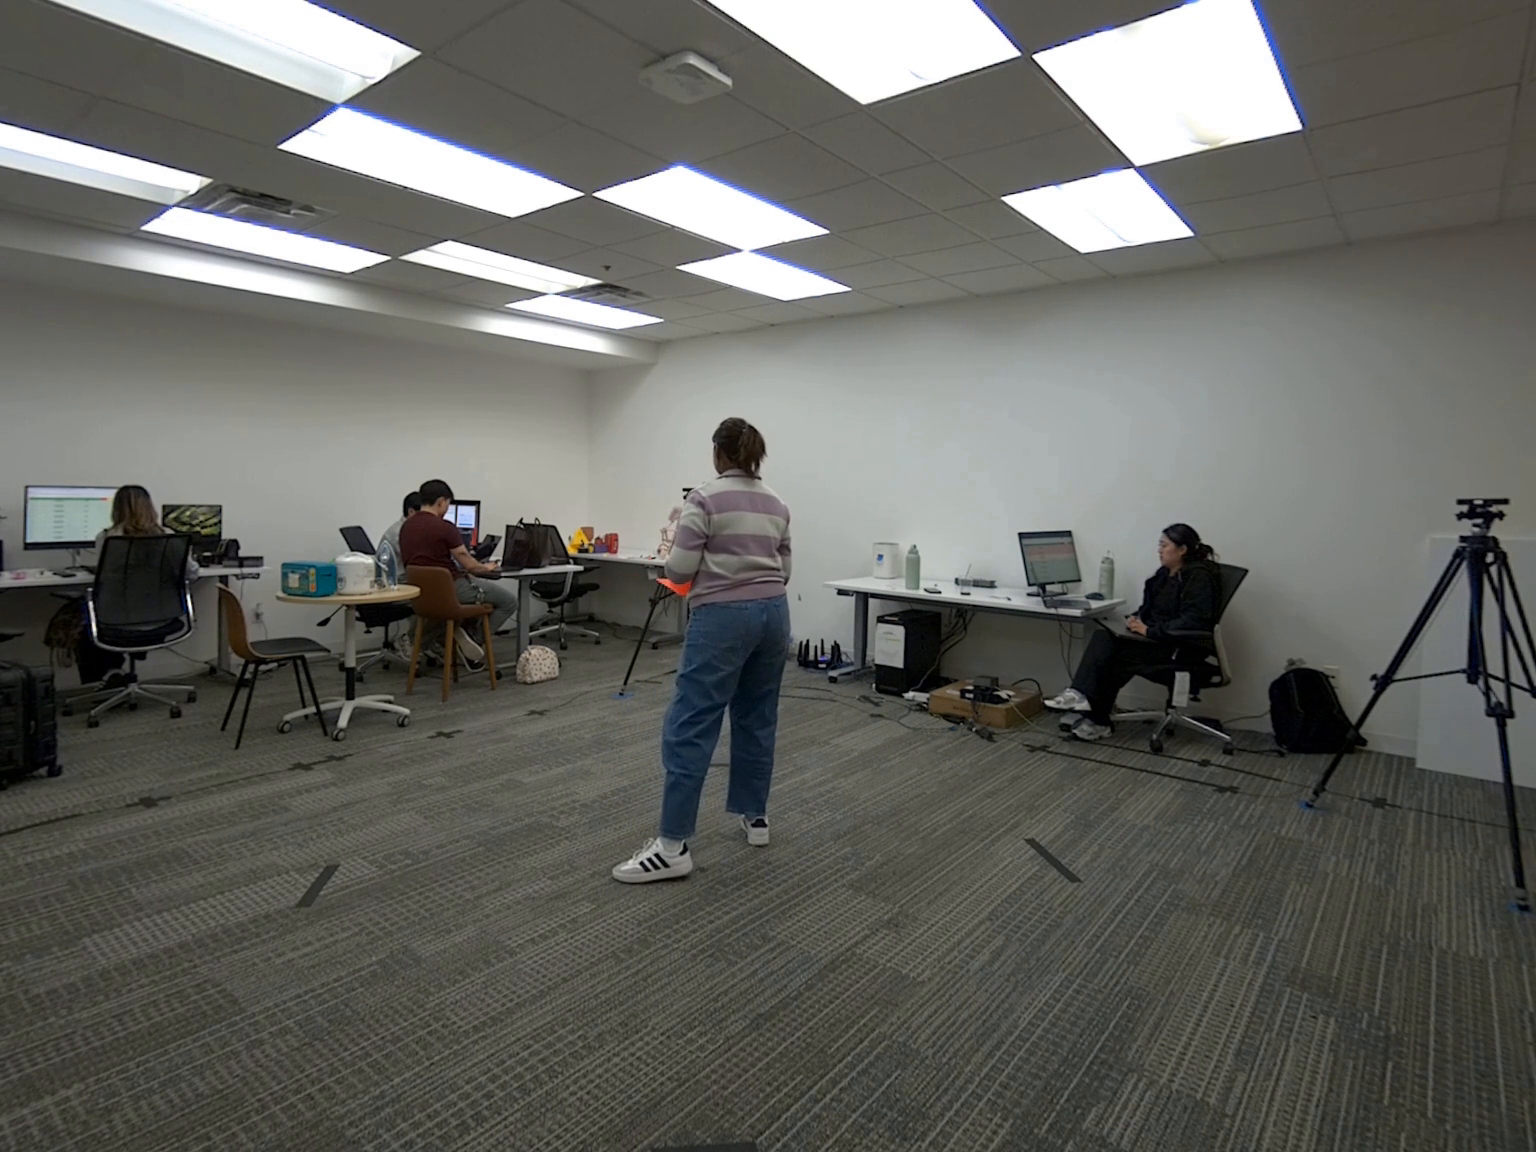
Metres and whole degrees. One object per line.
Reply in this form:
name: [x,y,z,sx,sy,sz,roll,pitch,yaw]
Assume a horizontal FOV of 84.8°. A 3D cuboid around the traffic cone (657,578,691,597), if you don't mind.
traffic cone: [-0.290,-0.136,3.478,0.199,0.381,0.210,8,10,-28]
